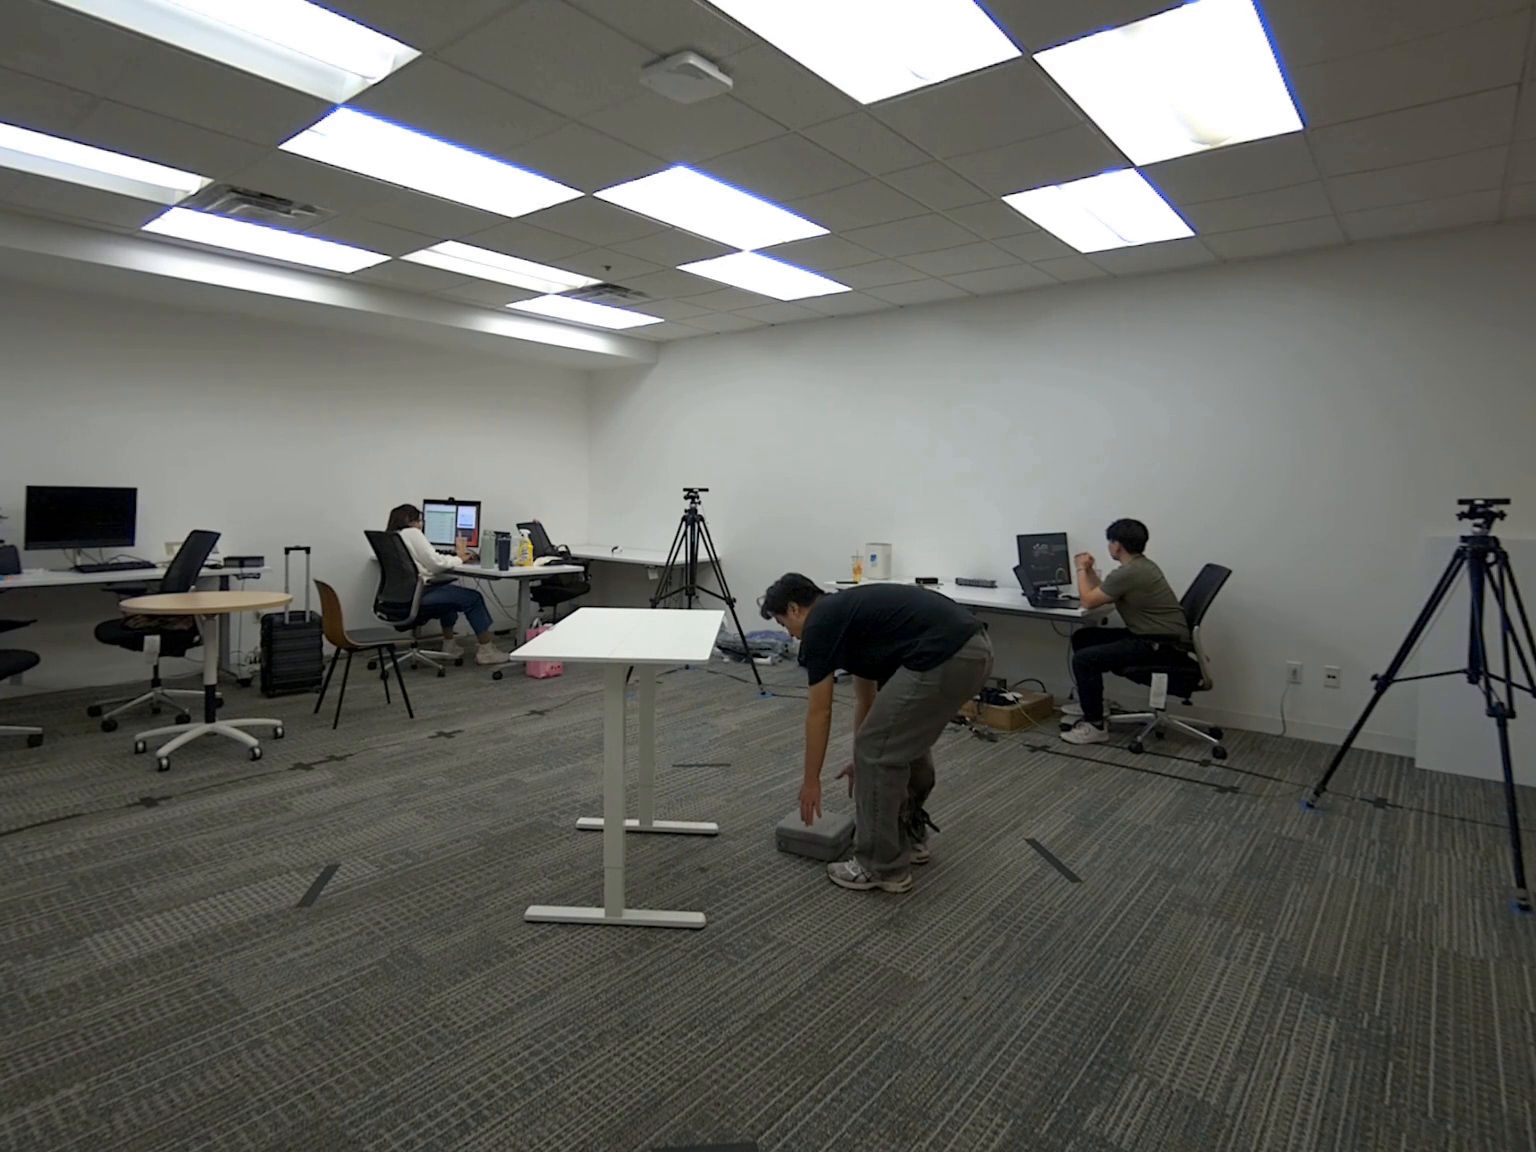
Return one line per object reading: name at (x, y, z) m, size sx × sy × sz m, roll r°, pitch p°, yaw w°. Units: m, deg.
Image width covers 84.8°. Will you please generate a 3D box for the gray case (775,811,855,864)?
gray case at (0.171, 1.001, 3.336) m, size 0.295 × 0.103 × 0.256 m, roll 2°, pitch 4°, yaw 28°
